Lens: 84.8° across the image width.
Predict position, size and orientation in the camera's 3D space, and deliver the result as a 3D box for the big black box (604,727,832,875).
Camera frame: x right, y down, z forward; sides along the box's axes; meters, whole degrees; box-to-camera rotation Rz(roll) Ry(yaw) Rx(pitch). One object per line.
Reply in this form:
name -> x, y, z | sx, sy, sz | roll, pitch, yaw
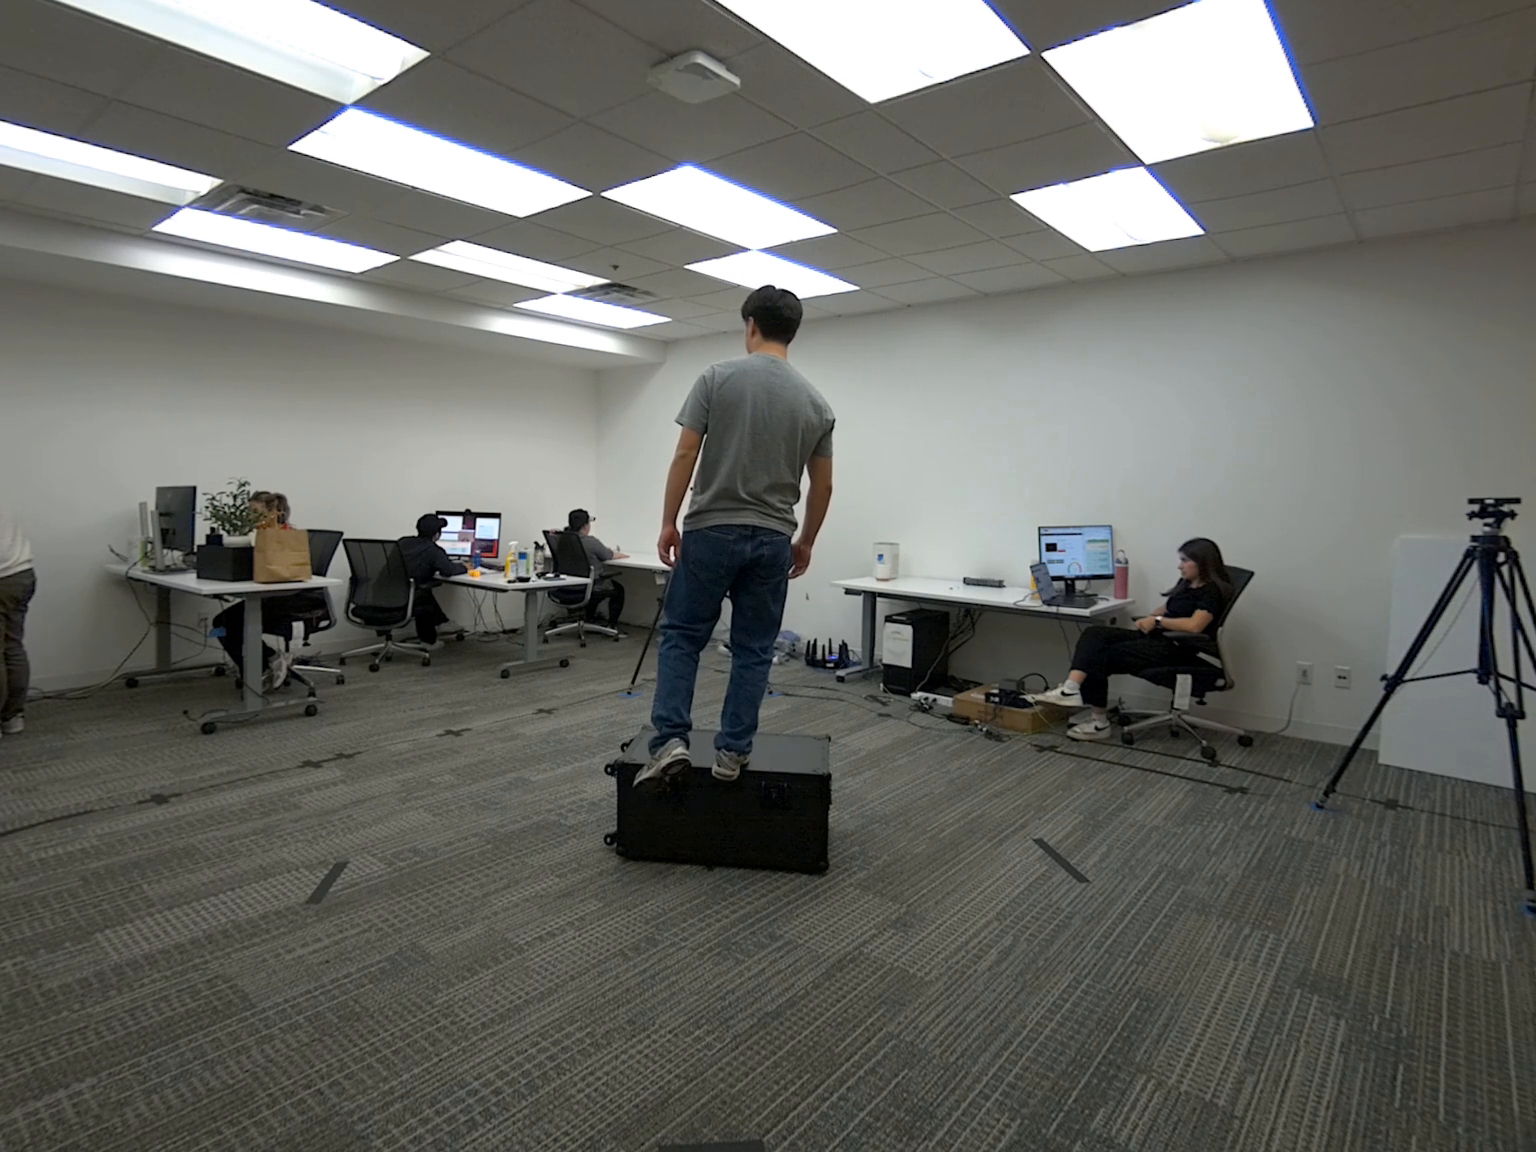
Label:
big black box -> -0.197, 0.851, 3.337 | 0.868, 0.394, 0.520 | 2, 6, 6
